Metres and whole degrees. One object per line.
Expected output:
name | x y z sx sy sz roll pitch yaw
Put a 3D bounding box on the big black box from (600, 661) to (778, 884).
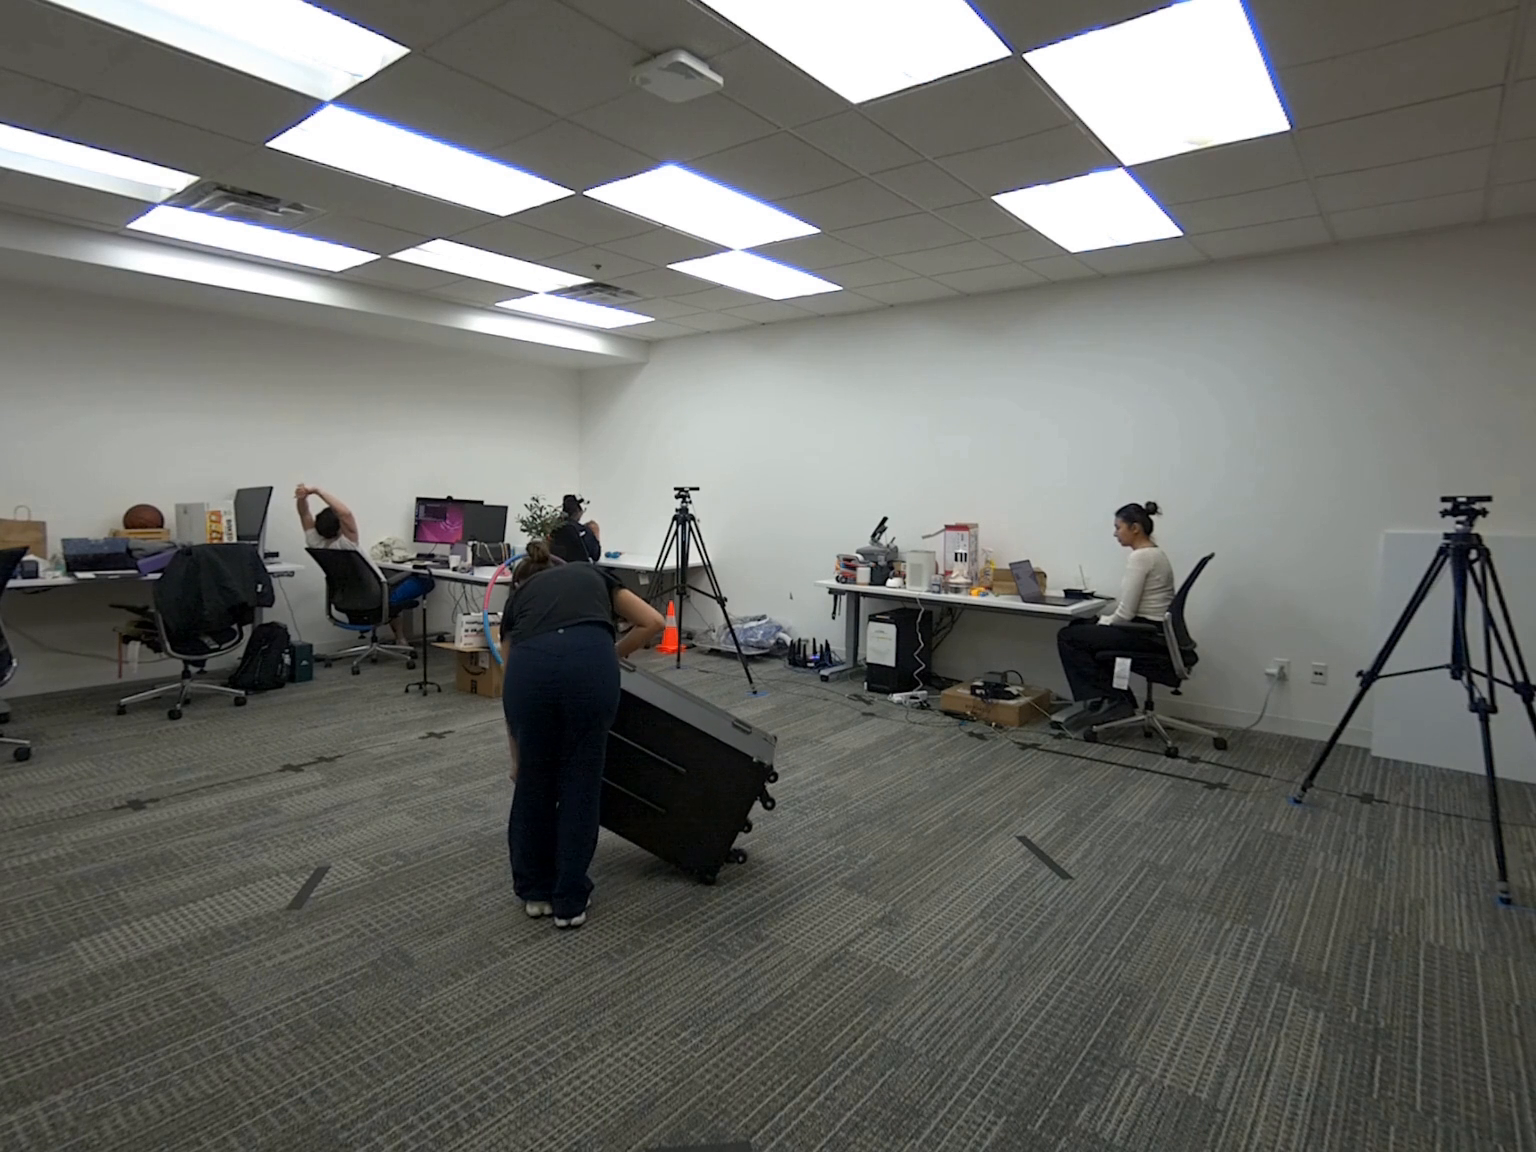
big black box | -0.383 0.682 3.148 0.866 0.520 0.395 27 7 3
